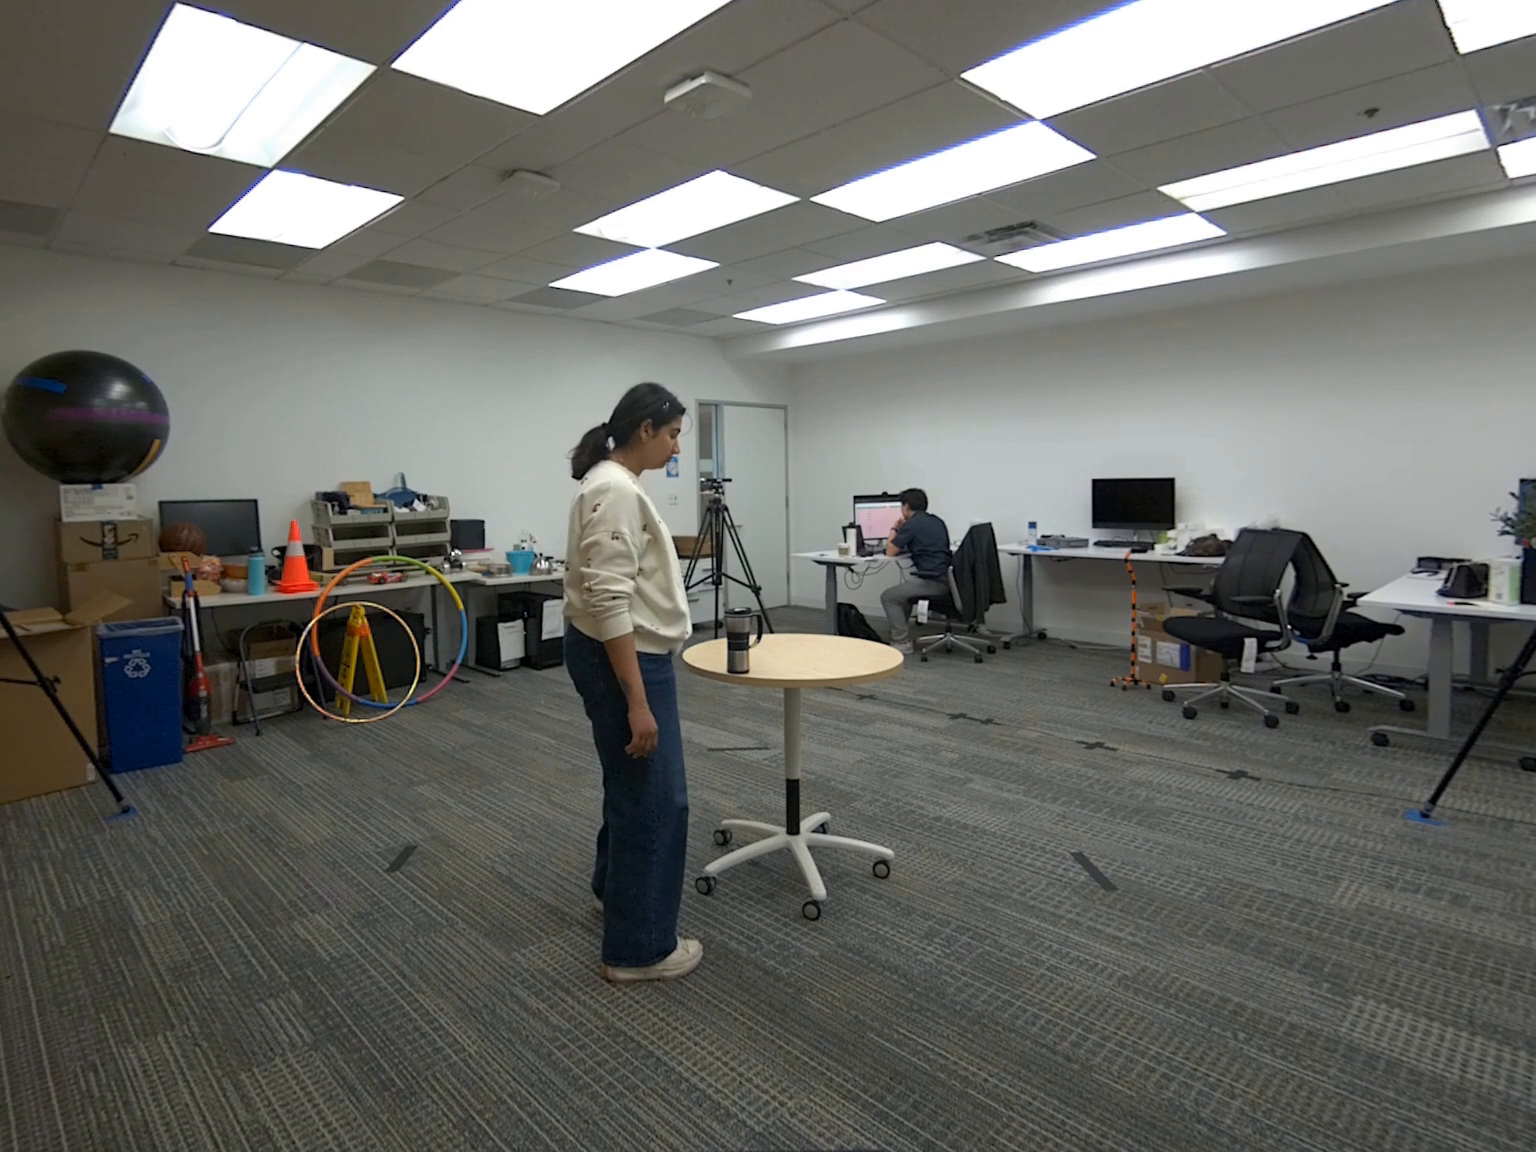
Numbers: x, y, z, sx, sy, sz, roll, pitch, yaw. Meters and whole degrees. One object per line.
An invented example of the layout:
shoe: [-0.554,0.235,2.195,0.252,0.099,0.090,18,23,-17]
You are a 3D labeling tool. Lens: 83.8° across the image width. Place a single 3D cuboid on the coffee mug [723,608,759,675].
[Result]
coffee mug: [-0.072,0.205,2.697,0.122,0.203,0.088,-4,0,-1]
